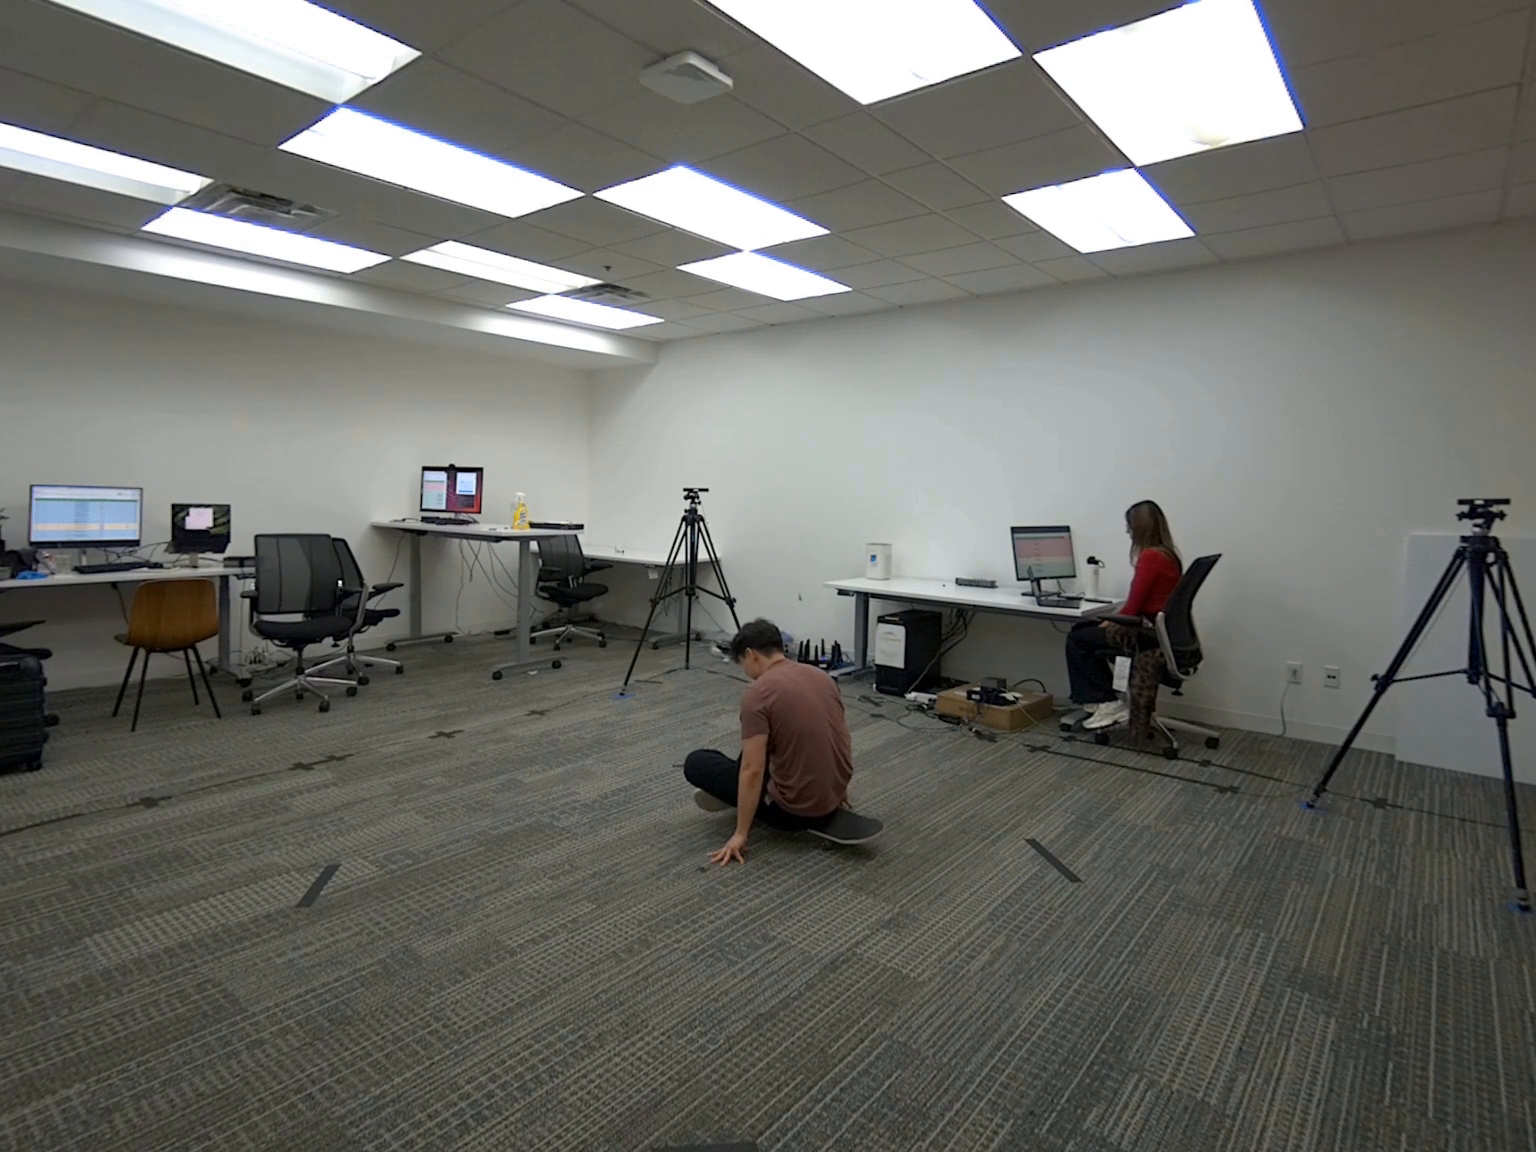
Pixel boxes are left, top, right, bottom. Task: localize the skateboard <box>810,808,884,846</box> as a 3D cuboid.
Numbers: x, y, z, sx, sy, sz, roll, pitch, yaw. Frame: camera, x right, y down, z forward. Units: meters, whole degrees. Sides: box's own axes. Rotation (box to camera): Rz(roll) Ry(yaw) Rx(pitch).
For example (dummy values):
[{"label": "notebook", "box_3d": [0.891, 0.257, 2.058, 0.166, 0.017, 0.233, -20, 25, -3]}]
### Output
[{"label": "skateboard", "box_3d": [0.132, 0.982, 3.509, 0.189, 0.109, 0.814, -20, 20, -40]}]
